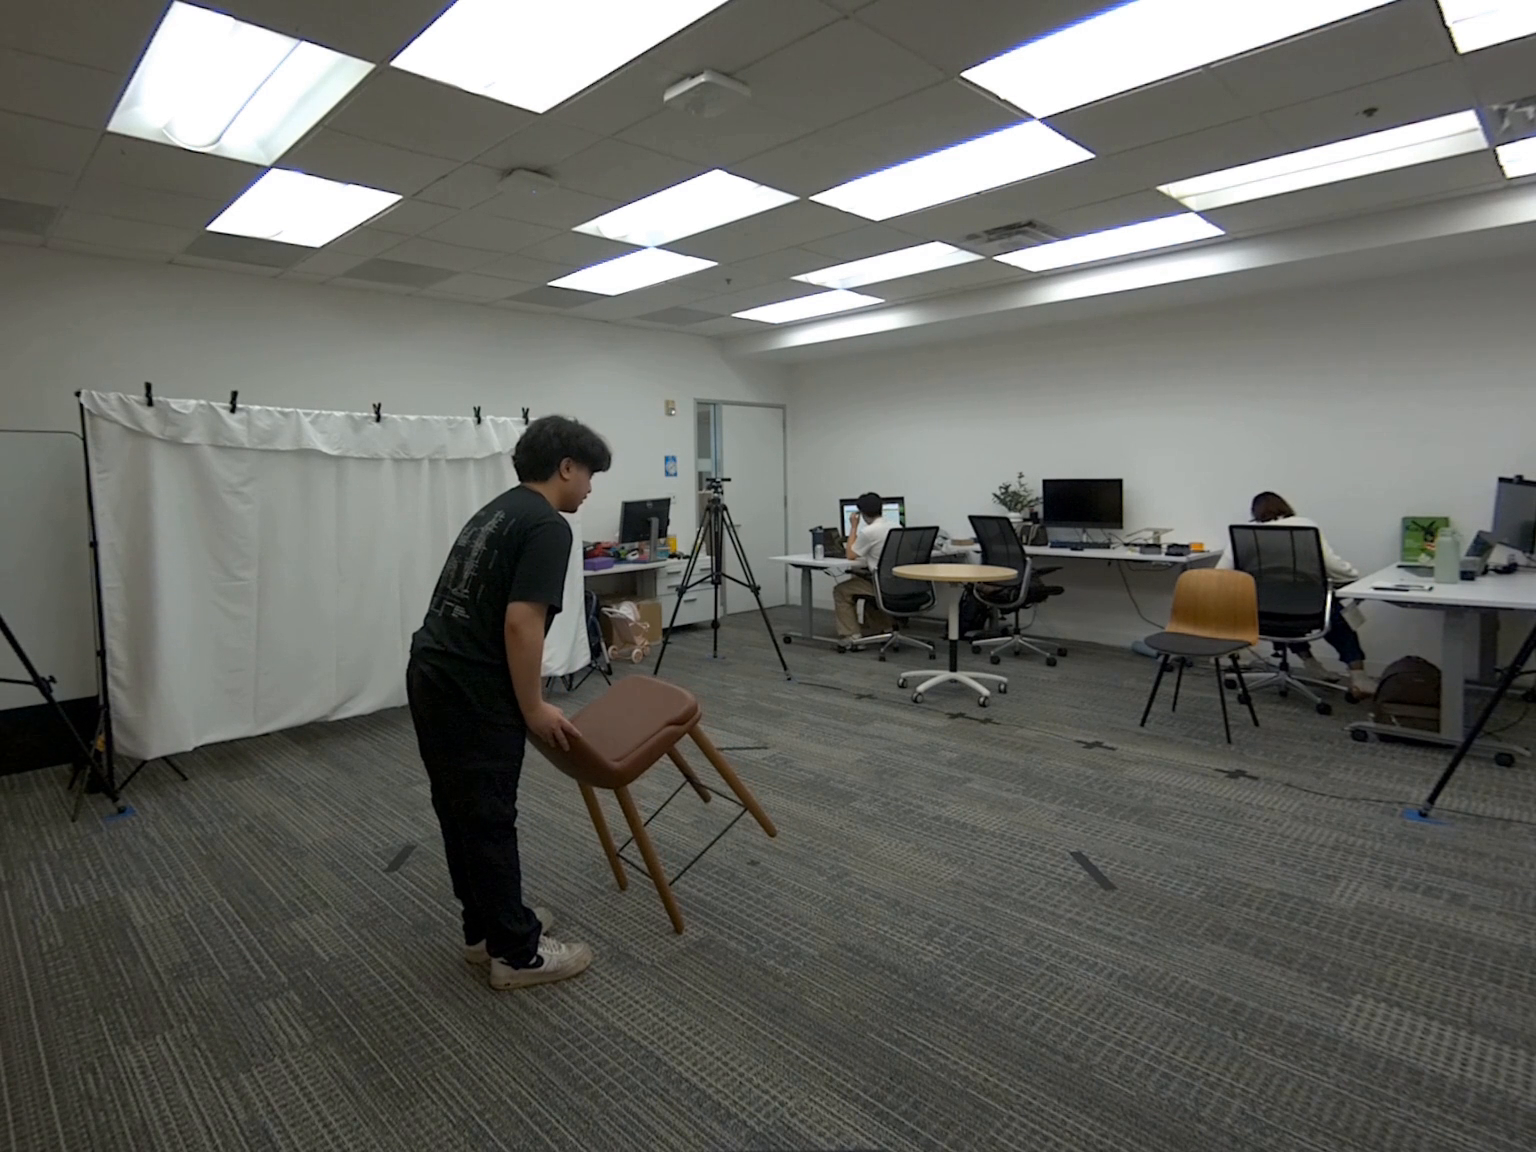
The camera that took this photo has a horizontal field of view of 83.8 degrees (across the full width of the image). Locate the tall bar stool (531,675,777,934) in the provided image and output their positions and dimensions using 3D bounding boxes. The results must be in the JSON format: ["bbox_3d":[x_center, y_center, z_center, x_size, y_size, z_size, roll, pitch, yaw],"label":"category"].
[{"bbox_3d":[-0.416,0.608,2.733,0.465,0.867,0.470,-40,26,-28],"label":"tall bar stool"}]
